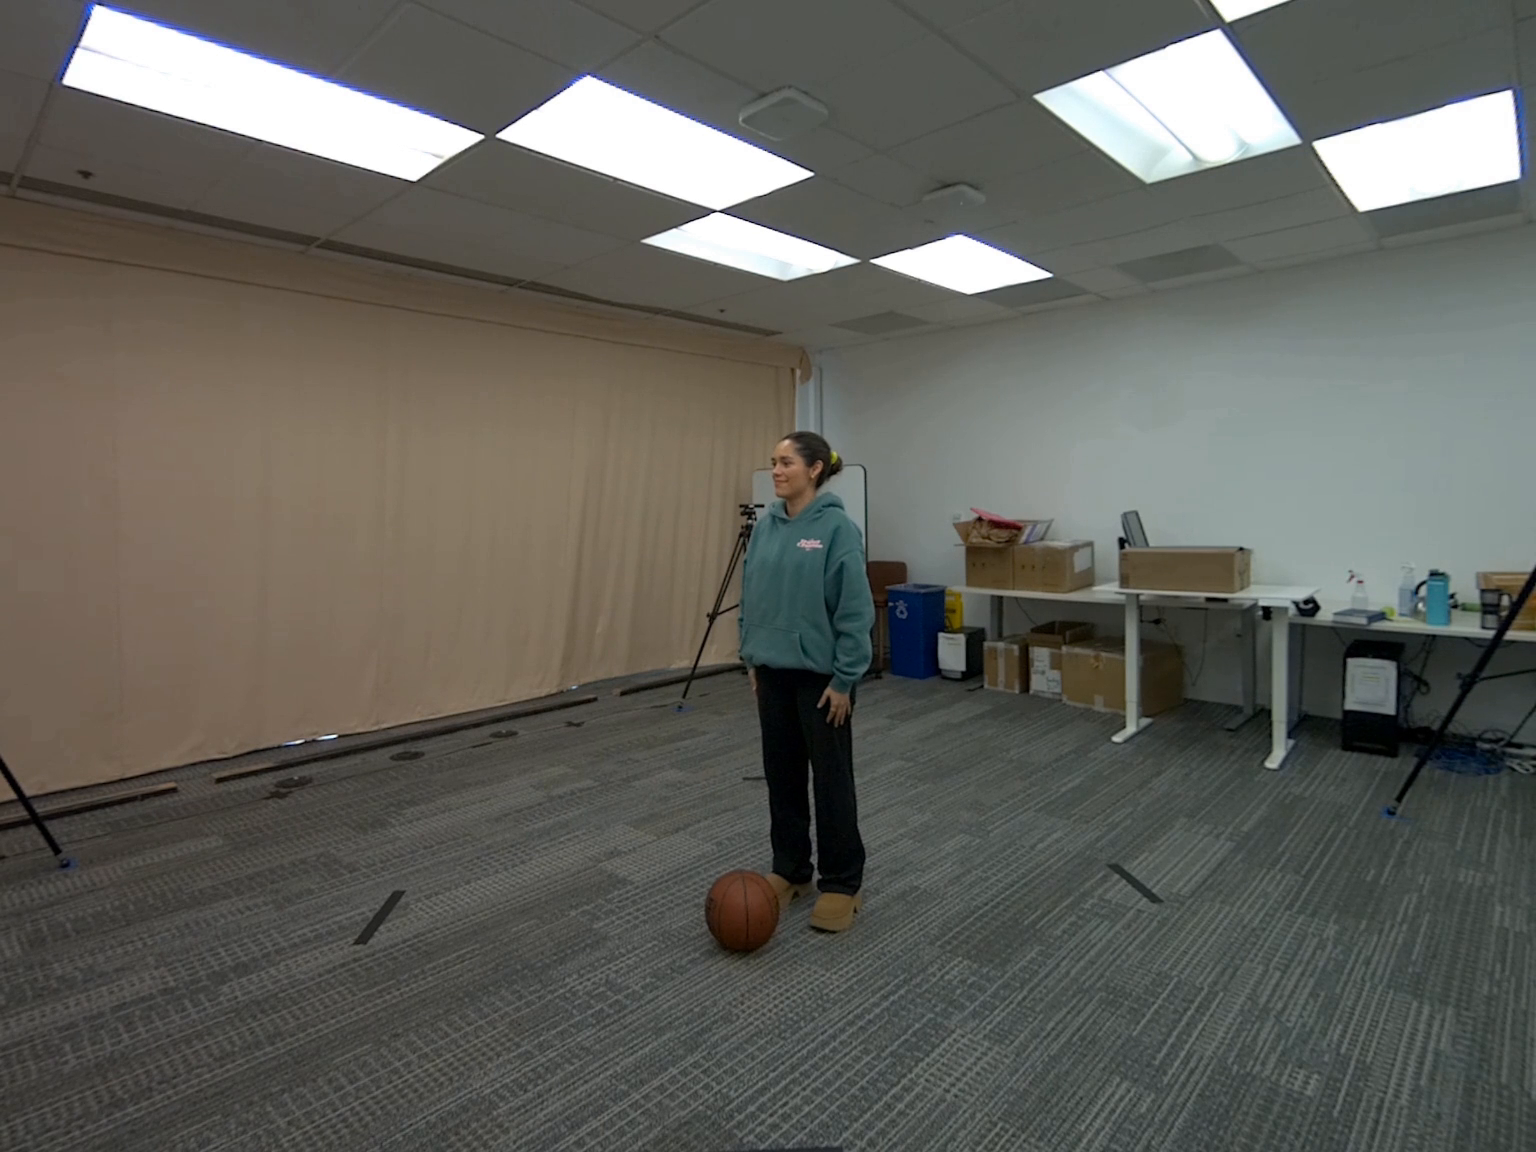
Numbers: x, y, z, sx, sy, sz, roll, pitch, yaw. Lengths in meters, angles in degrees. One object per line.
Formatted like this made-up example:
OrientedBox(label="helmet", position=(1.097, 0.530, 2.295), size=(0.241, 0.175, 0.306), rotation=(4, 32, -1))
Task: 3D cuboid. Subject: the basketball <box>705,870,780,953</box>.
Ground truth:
OrientedBox(label="basketball", position=(-0.078, 1.052, 2.651), size=(0.236, 0.235, 0.237), rotation=(-1, 4, -2))
